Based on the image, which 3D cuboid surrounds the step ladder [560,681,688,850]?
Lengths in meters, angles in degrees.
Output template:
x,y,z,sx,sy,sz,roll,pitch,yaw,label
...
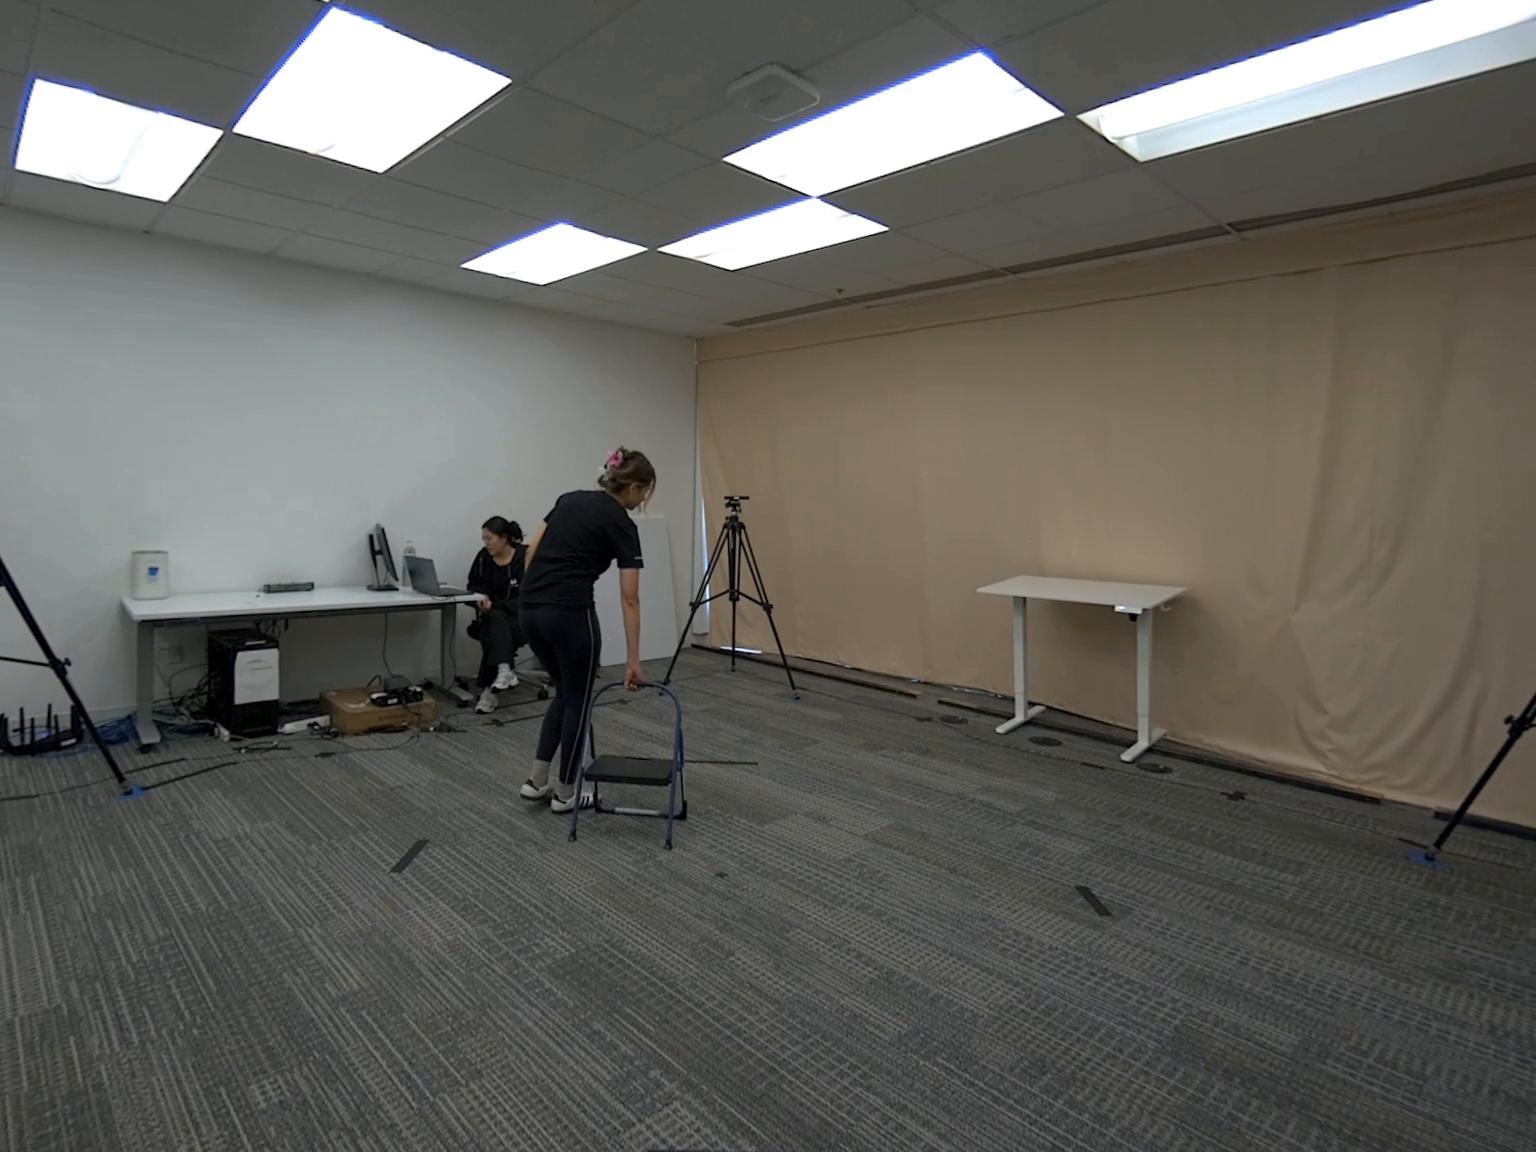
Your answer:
x,y,z,sx,sy,sz,roll,pitch,yaw,label
-0.573,0.763,3.500,0.433,0.604,0.348,2,4,7,step ladder
